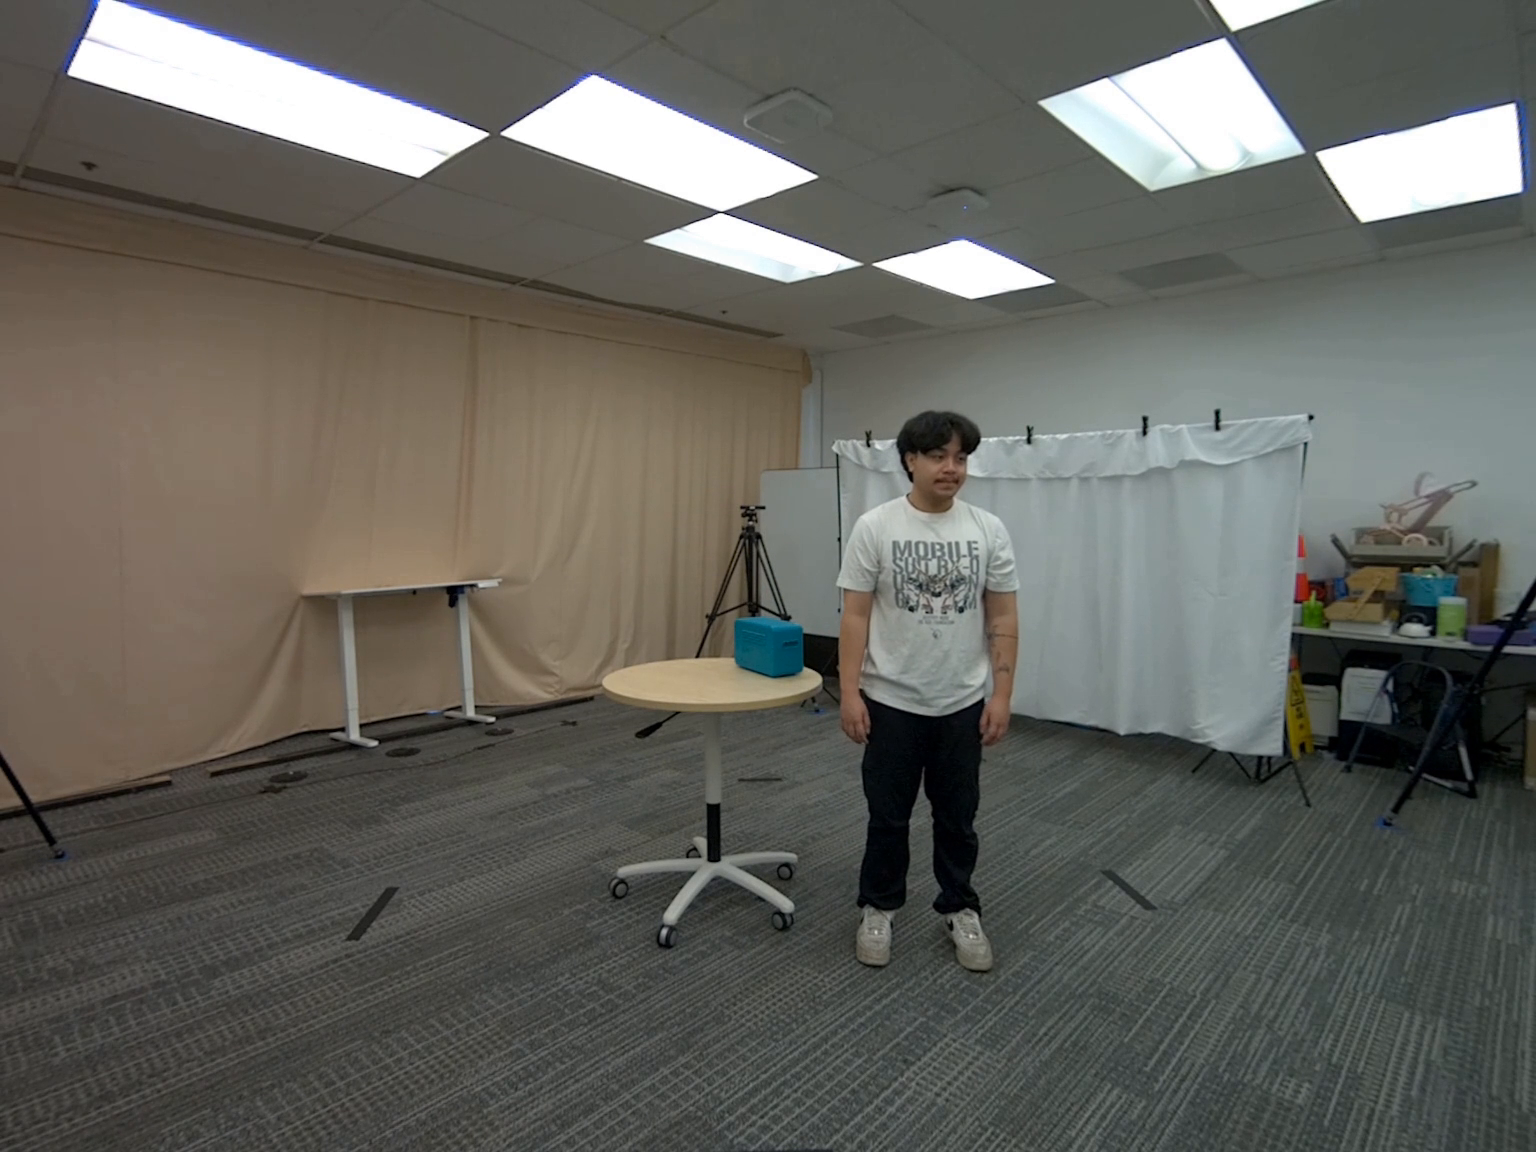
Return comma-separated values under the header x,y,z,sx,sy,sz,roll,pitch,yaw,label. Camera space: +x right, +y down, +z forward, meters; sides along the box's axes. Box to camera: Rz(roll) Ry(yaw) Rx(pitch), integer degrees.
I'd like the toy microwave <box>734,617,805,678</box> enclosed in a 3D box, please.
x,y,z,sx,sy,sz,roll,pitch,yaw,label
0.012,0.252,3.058,0.148,0.184,0.294,-3,5,-31,toy microwave
